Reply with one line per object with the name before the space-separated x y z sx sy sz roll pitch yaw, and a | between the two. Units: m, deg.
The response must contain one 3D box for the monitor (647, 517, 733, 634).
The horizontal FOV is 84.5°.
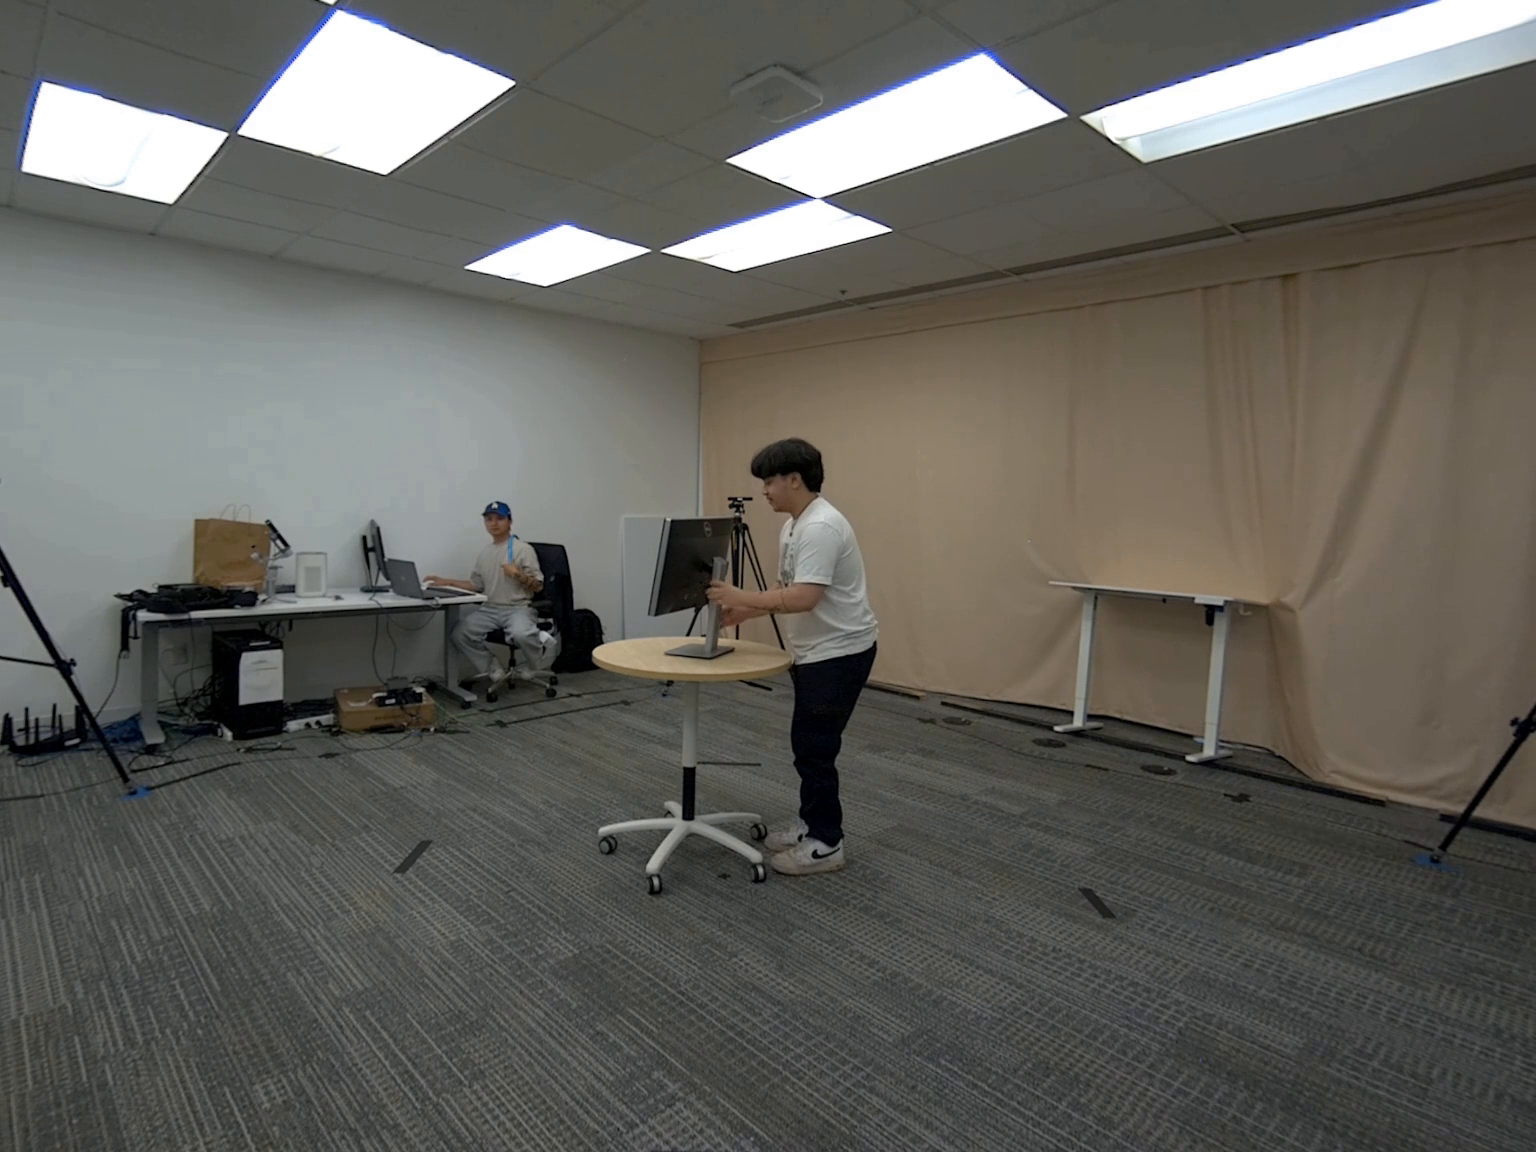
monitor | -0.234 0.046 3.241 0.214 0.552 0.556 7 6 22
